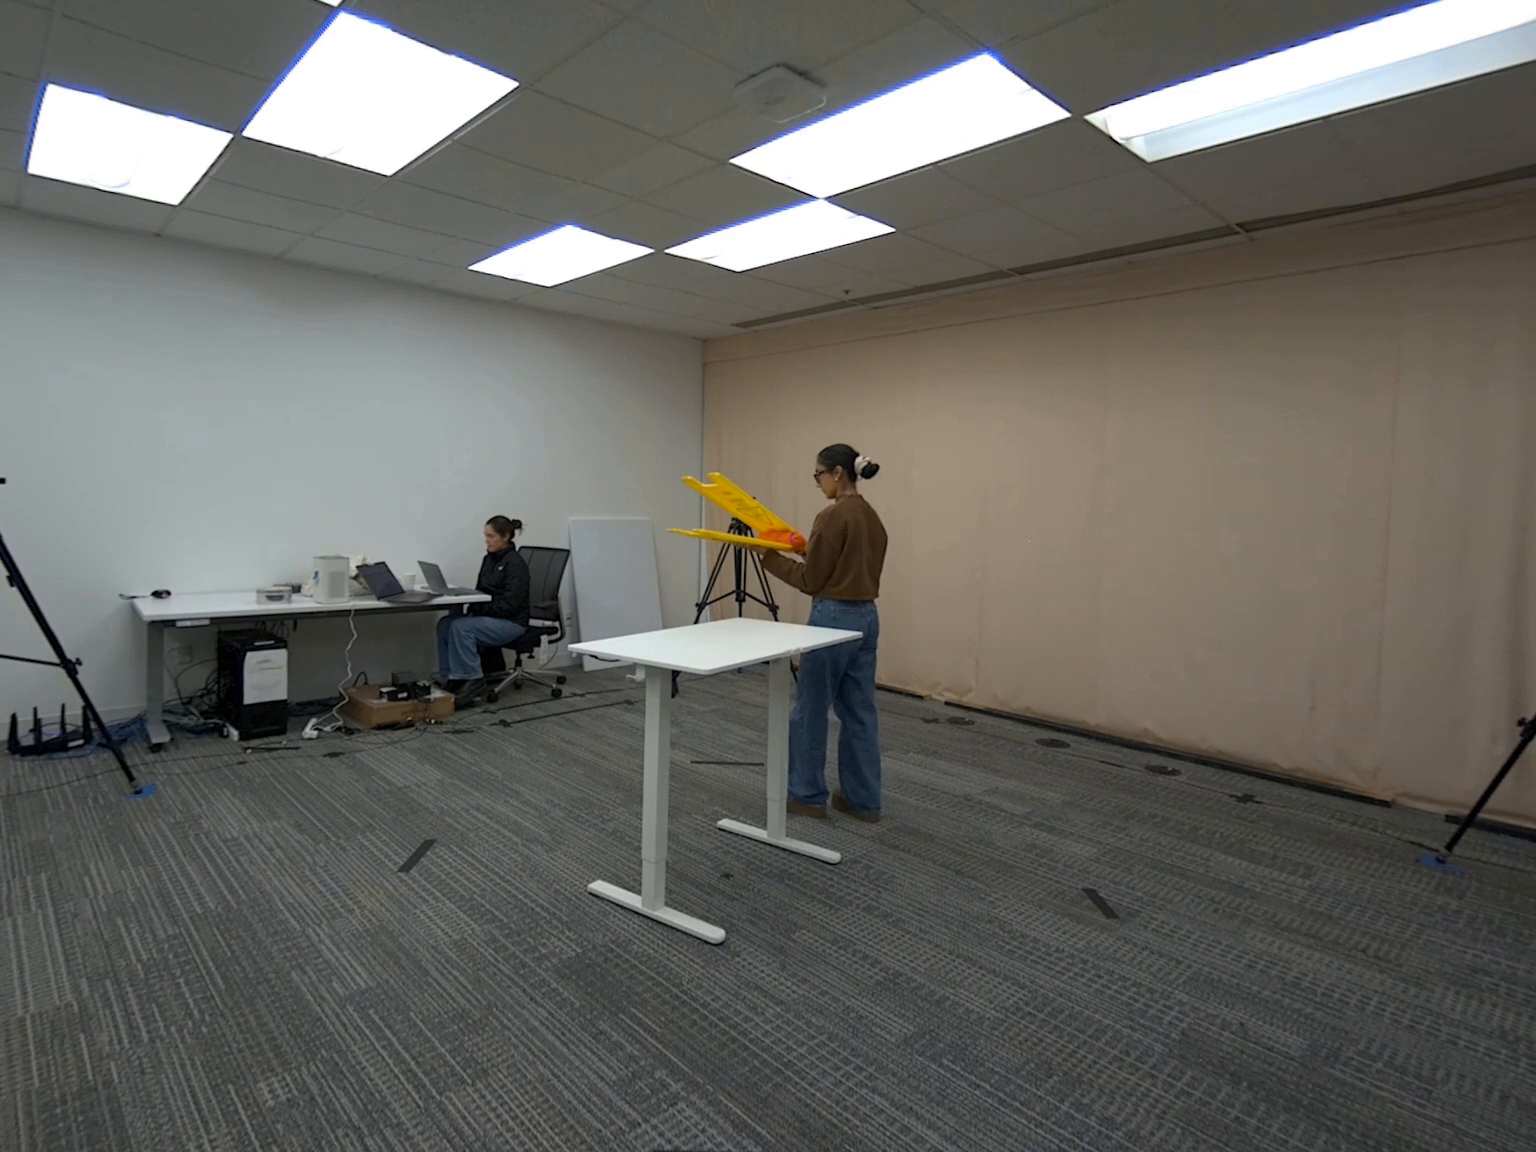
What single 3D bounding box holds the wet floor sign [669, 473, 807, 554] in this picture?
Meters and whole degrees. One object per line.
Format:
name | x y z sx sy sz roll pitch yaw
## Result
wet floor sign | -0.089 -0.207 3.685 0.628 0.291 0.289 20 -11 -36
